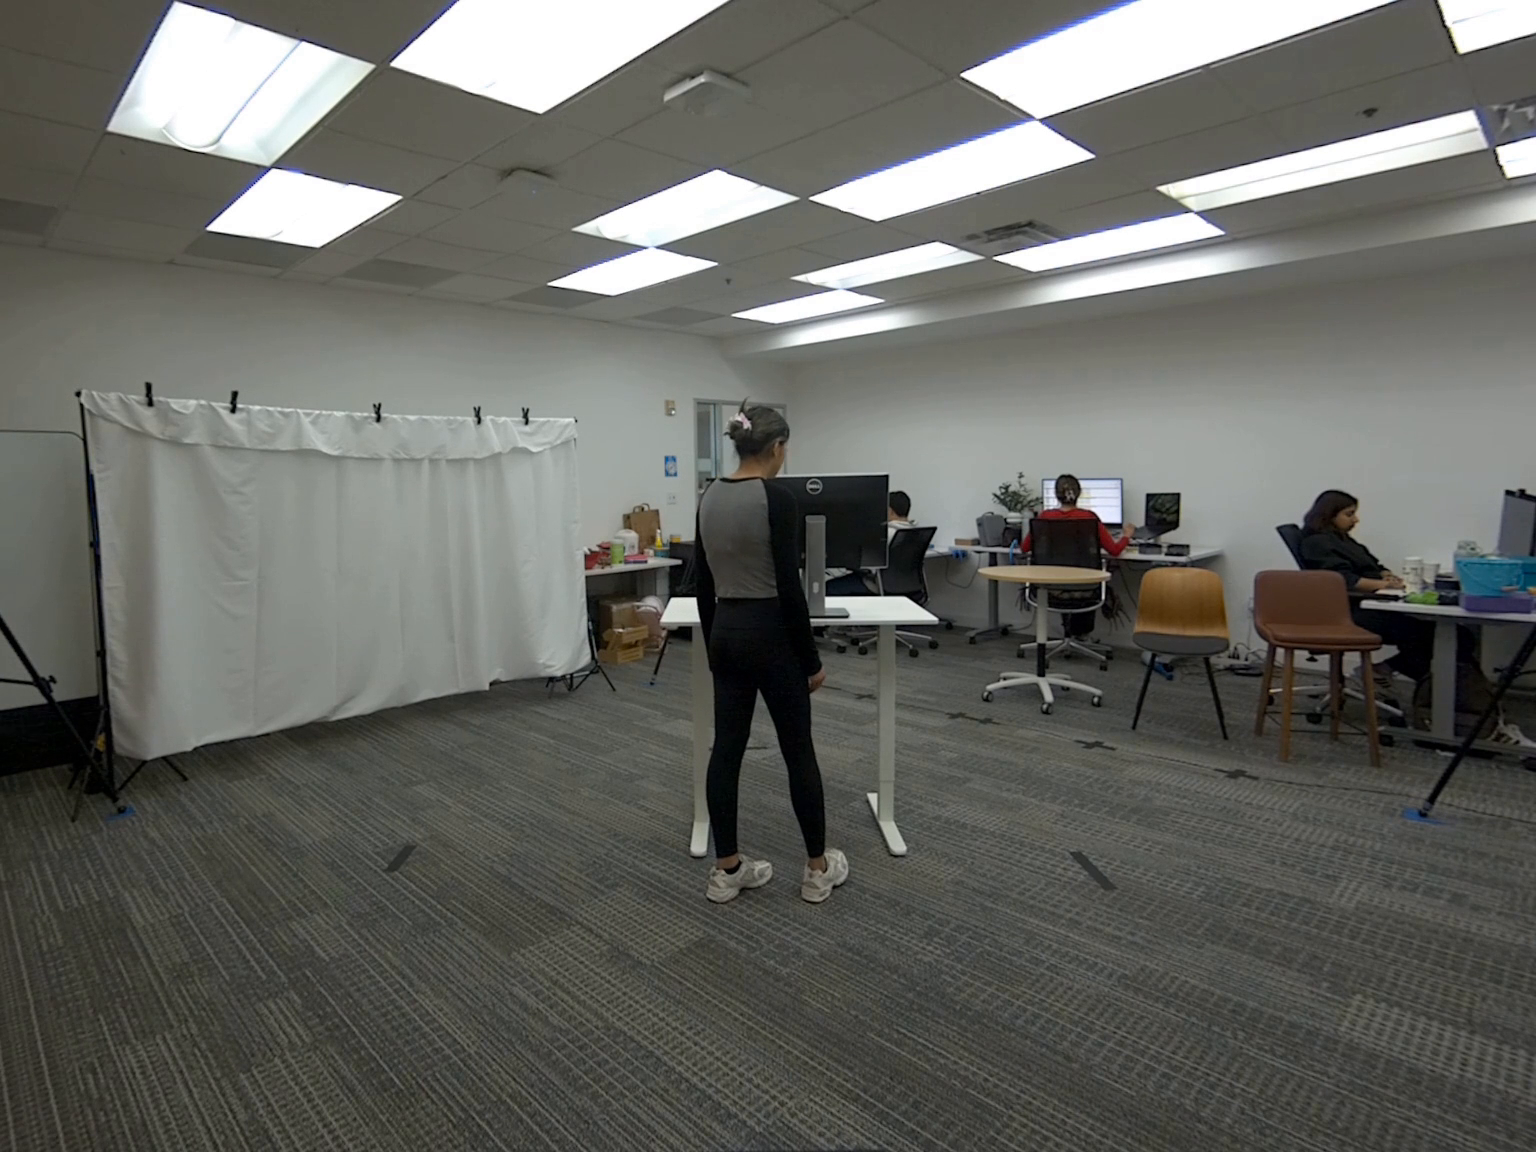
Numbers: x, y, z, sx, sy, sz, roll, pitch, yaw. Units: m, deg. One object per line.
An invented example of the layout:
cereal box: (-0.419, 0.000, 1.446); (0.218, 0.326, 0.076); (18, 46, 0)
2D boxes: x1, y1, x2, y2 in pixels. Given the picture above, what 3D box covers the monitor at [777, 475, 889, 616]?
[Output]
monitor: (0.169, -0.113, 3.196); (0.540, 0.522, 0.187); (0, 2, 1)
